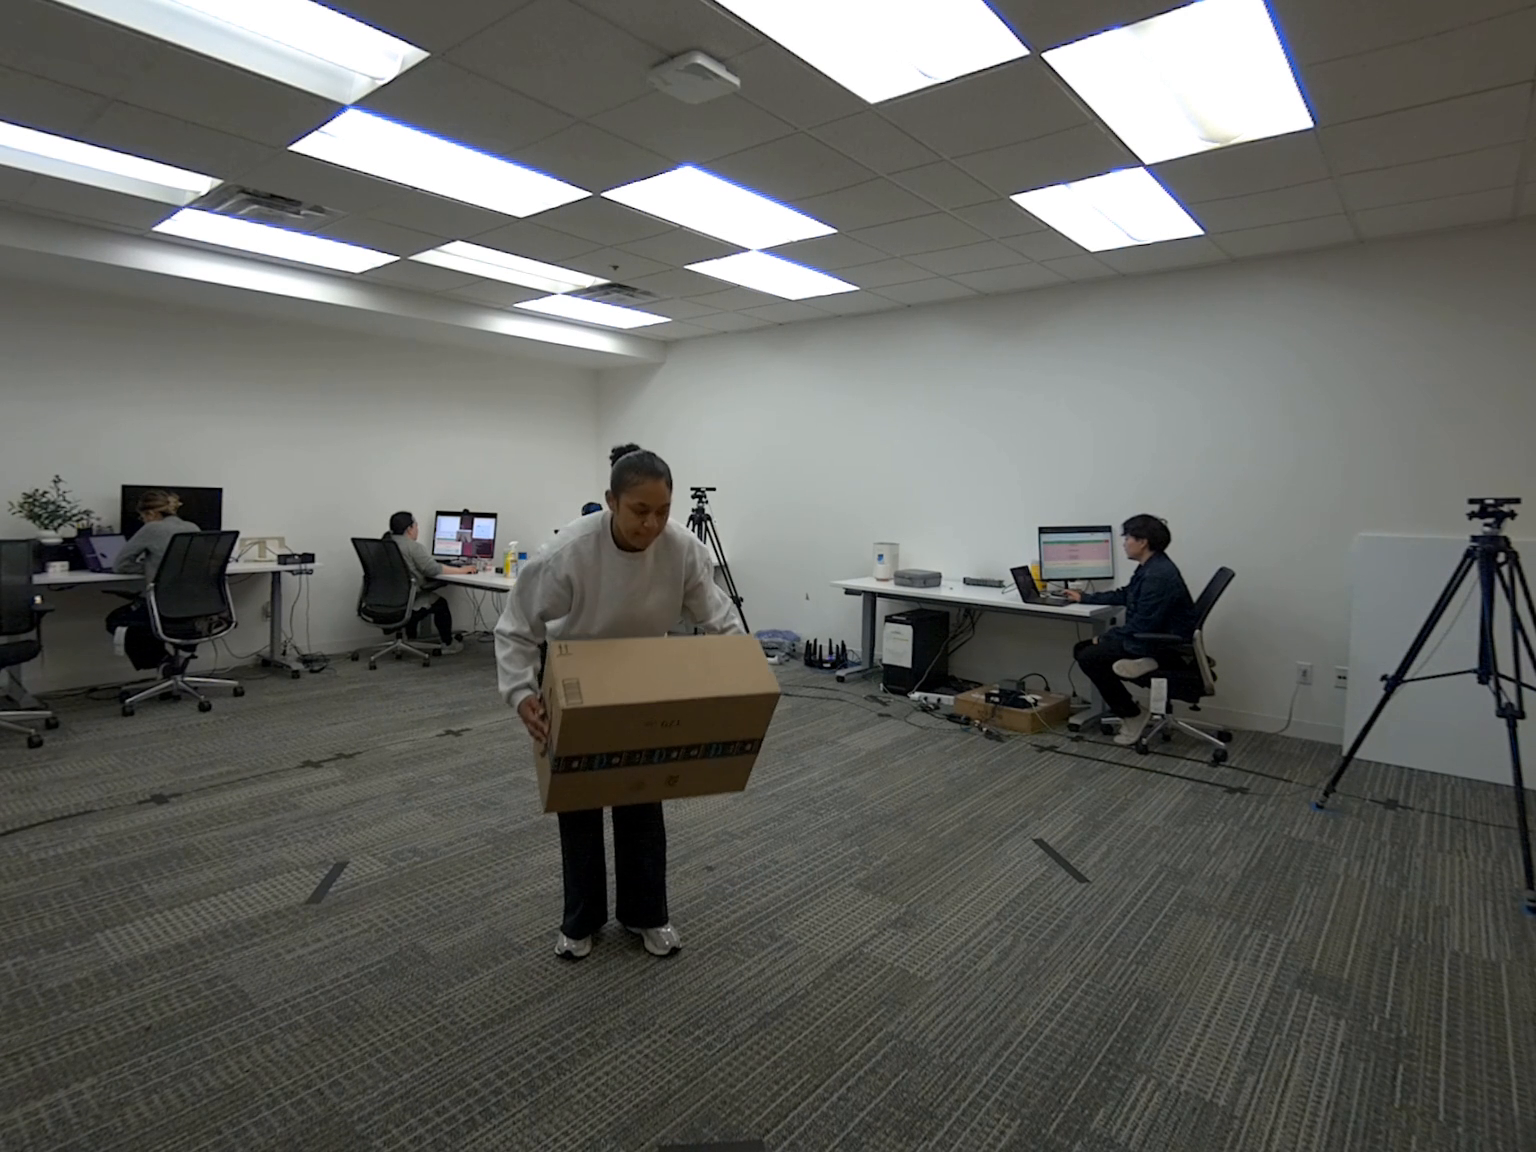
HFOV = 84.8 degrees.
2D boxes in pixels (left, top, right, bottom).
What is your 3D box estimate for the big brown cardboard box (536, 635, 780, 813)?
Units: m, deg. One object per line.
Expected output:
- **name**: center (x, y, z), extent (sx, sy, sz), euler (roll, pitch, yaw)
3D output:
- **big brown cardboard box**: center (-0.317, 0.393, 2.257), extent (0.576, 0.410, 0.242), euler (1, 39, -22)
